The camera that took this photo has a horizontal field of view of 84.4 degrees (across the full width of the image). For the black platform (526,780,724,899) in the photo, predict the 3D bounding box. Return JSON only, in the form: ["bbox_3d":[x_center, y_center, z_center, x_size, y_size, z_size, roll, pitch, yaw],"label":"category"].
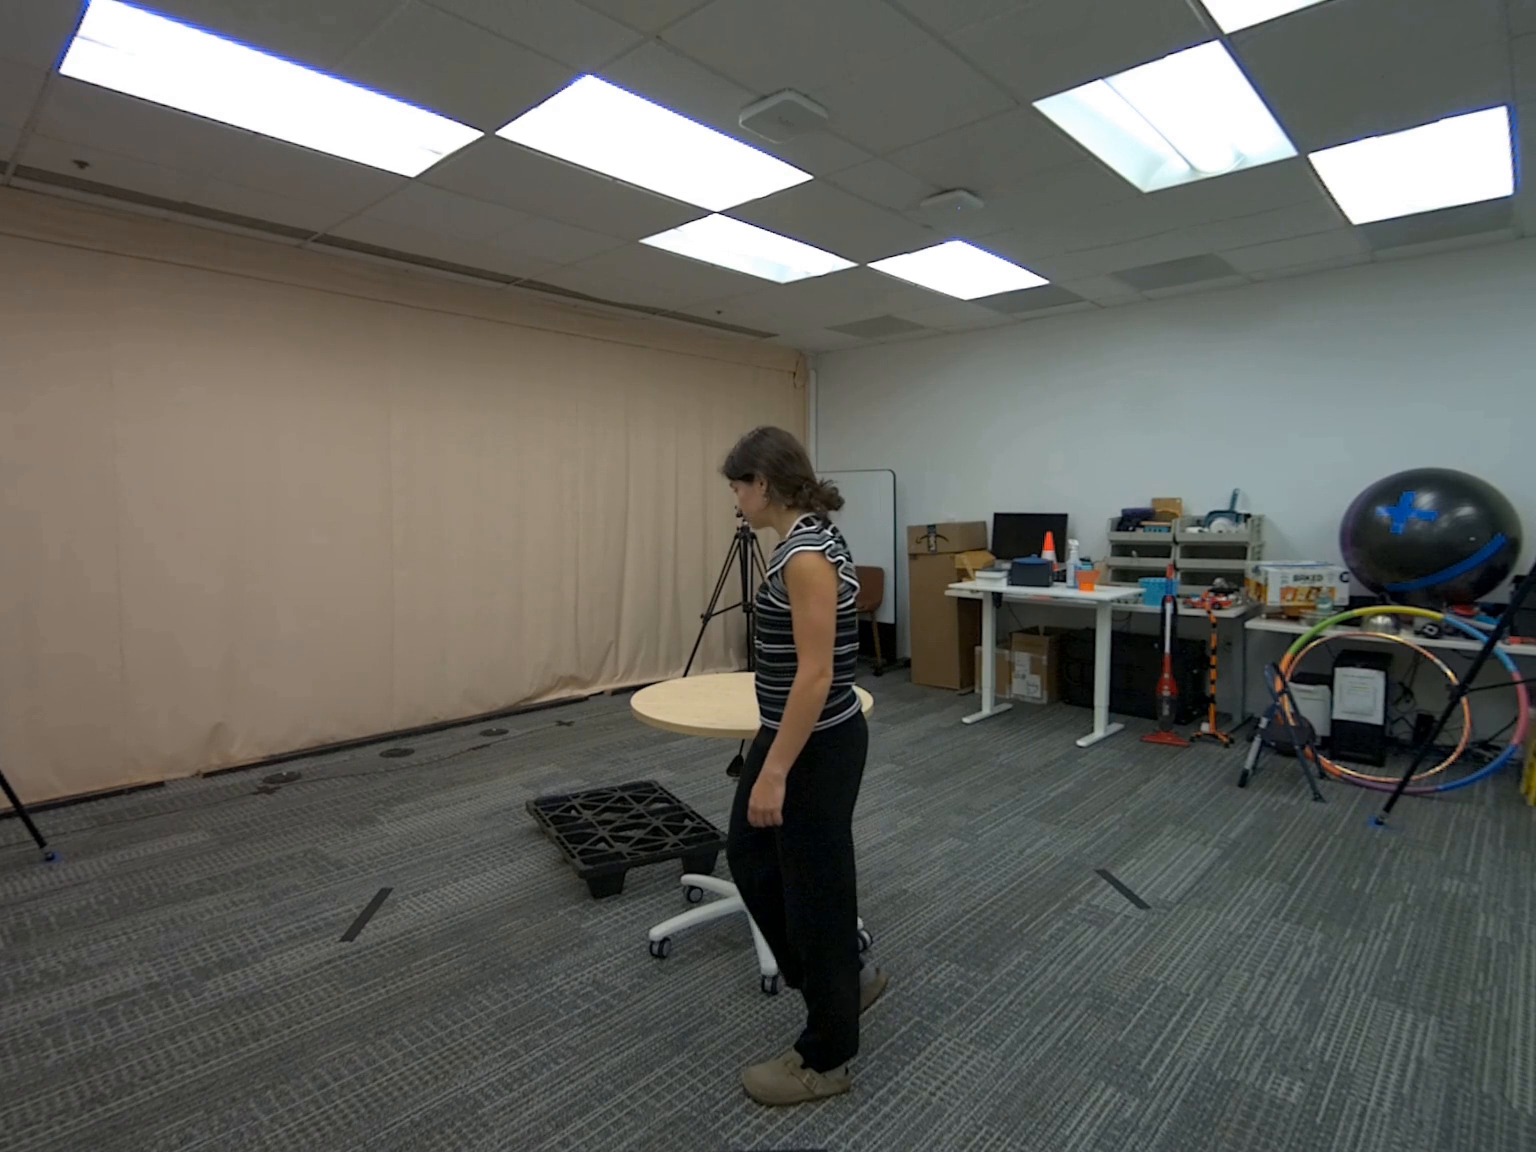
[{"bbox_3d":[-0.592,1.047,3.412,0.590,0.143,0.828,-3,5,-28],"label":"black platform"}]
